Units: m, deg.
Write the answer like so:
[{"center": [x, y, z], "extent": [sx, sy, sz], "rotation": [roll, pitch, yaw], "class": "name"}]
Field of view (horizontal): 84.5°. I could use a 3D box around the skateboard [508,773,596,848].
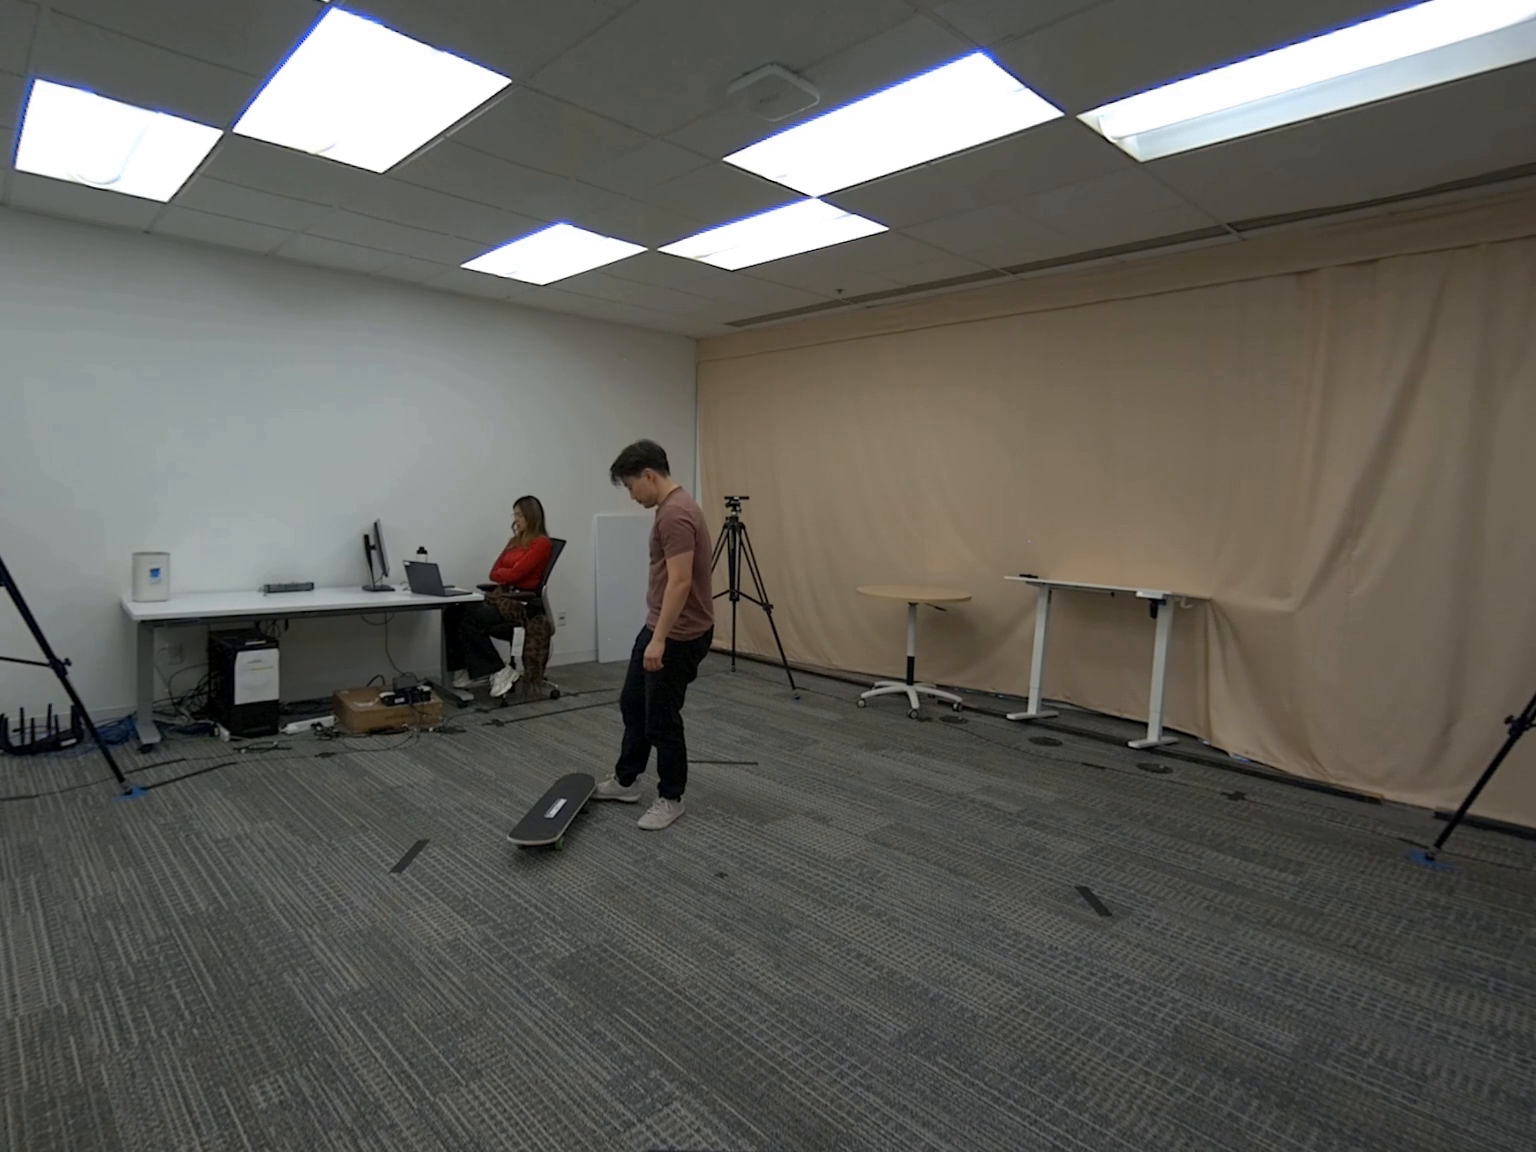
[{"center": [-0.893, 0.997, 3.493], "extent": [0.194, 0.110, 0.784], "rotation": [3, 4, 3], "class": "skateboard"}]
